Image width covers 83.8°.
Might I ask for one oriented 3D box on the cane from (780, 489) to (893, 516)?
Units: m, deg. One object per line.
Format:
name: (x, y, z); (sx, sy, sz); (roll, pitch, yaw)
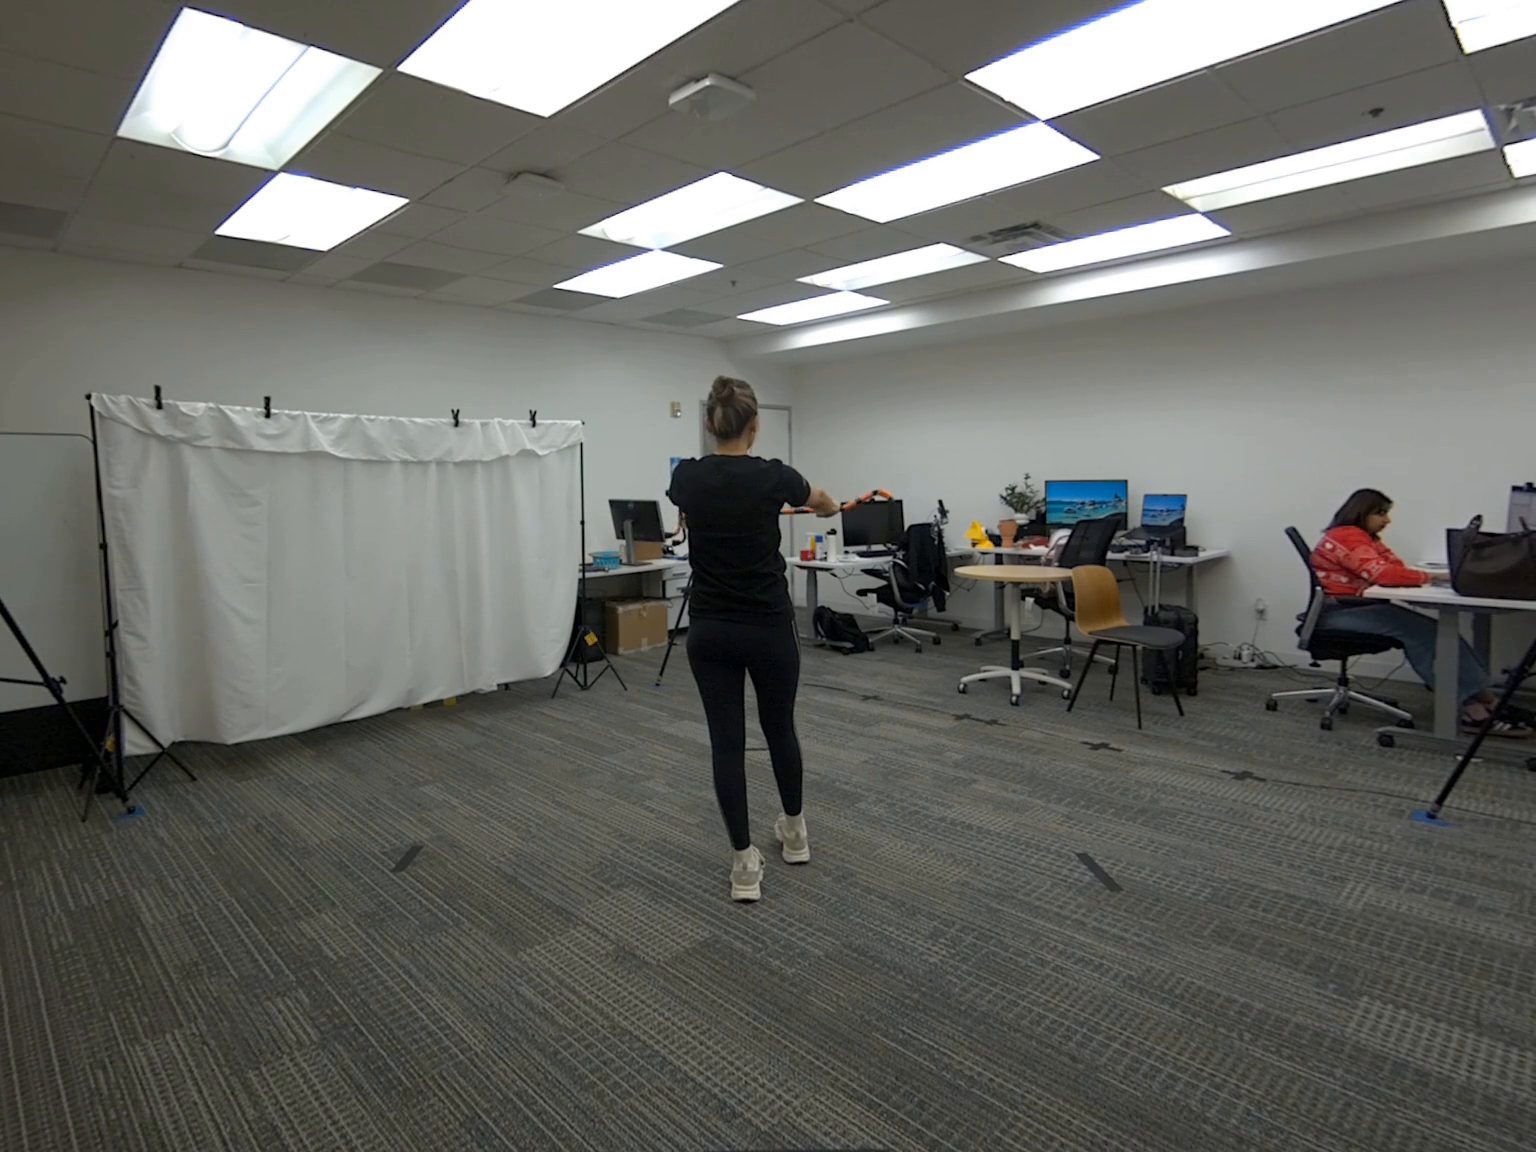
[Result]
cane: (0.036, -0.256, 3.398); (0.918, 0.209, 0.148); (-2, -16, 11)
